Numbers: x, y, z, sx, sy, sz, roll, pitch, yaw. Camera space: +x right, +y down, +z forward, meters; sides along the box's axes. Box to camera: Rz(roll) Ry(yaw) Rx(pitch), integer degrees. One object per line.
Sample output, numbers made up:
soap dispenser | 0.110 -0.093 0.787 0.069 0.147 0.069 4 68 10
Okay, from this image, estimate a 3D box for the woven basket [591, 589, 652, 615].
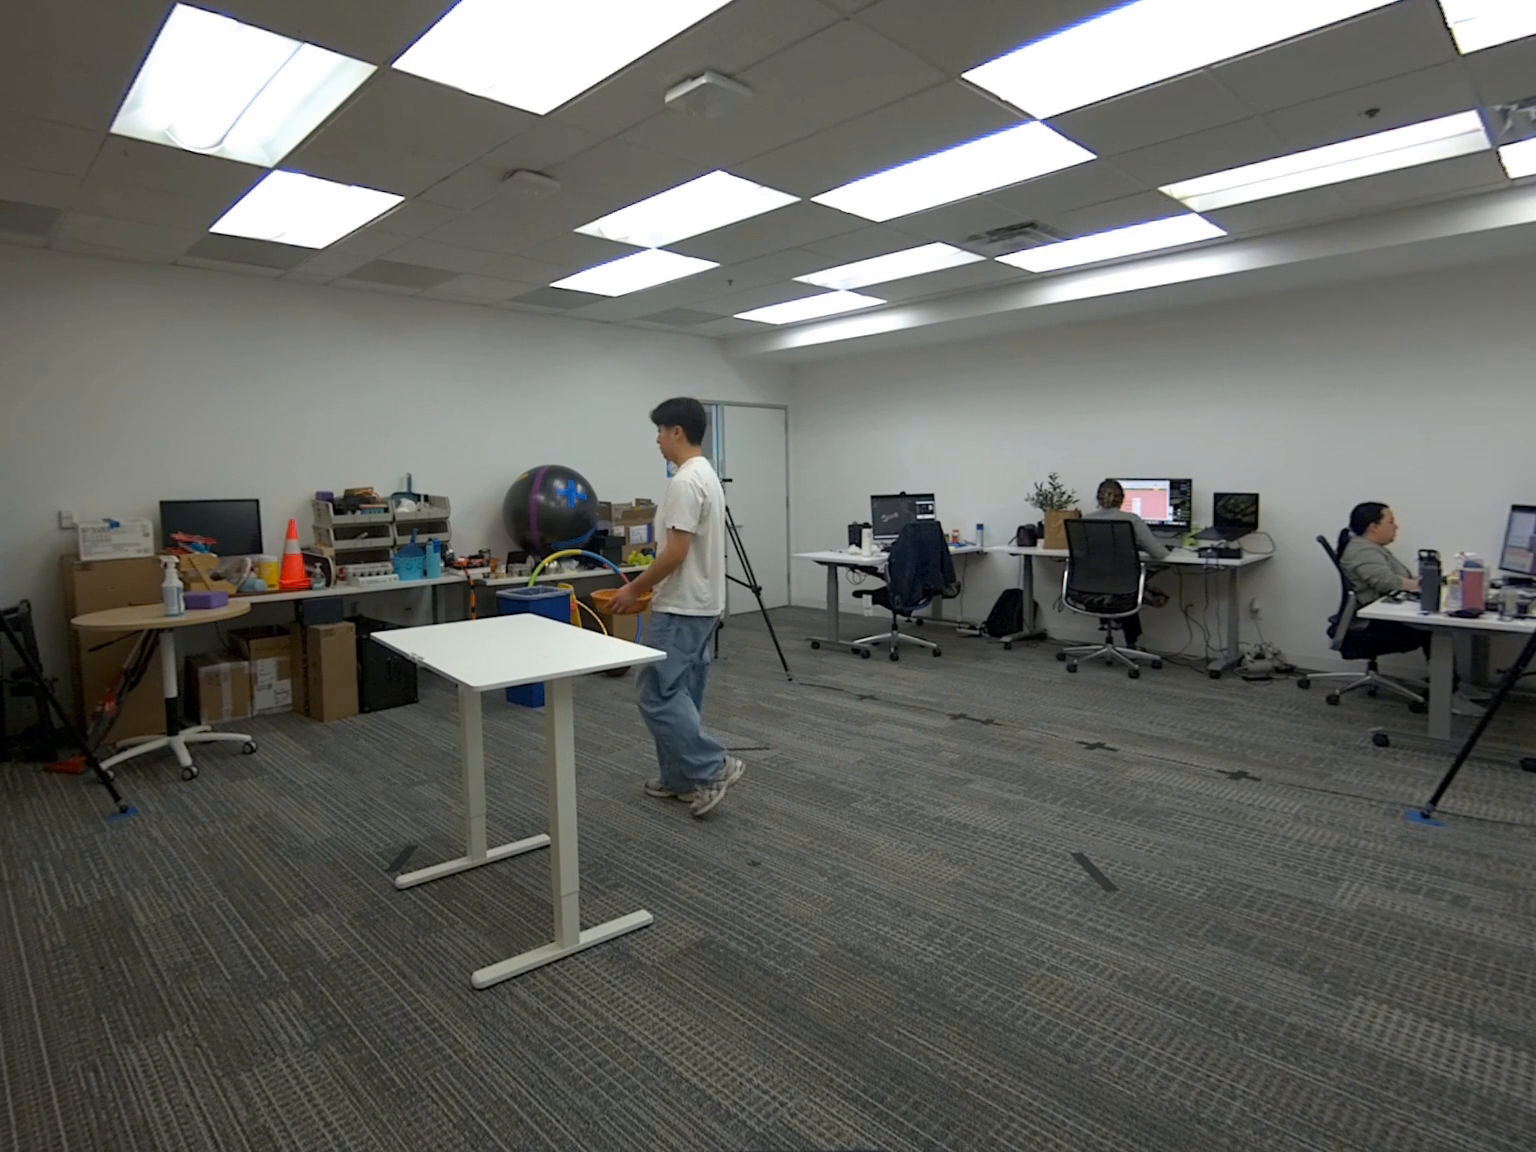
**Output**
woven basket | -0.599 0.112 3.698 0.257 0.073 0.345 4 7 19
